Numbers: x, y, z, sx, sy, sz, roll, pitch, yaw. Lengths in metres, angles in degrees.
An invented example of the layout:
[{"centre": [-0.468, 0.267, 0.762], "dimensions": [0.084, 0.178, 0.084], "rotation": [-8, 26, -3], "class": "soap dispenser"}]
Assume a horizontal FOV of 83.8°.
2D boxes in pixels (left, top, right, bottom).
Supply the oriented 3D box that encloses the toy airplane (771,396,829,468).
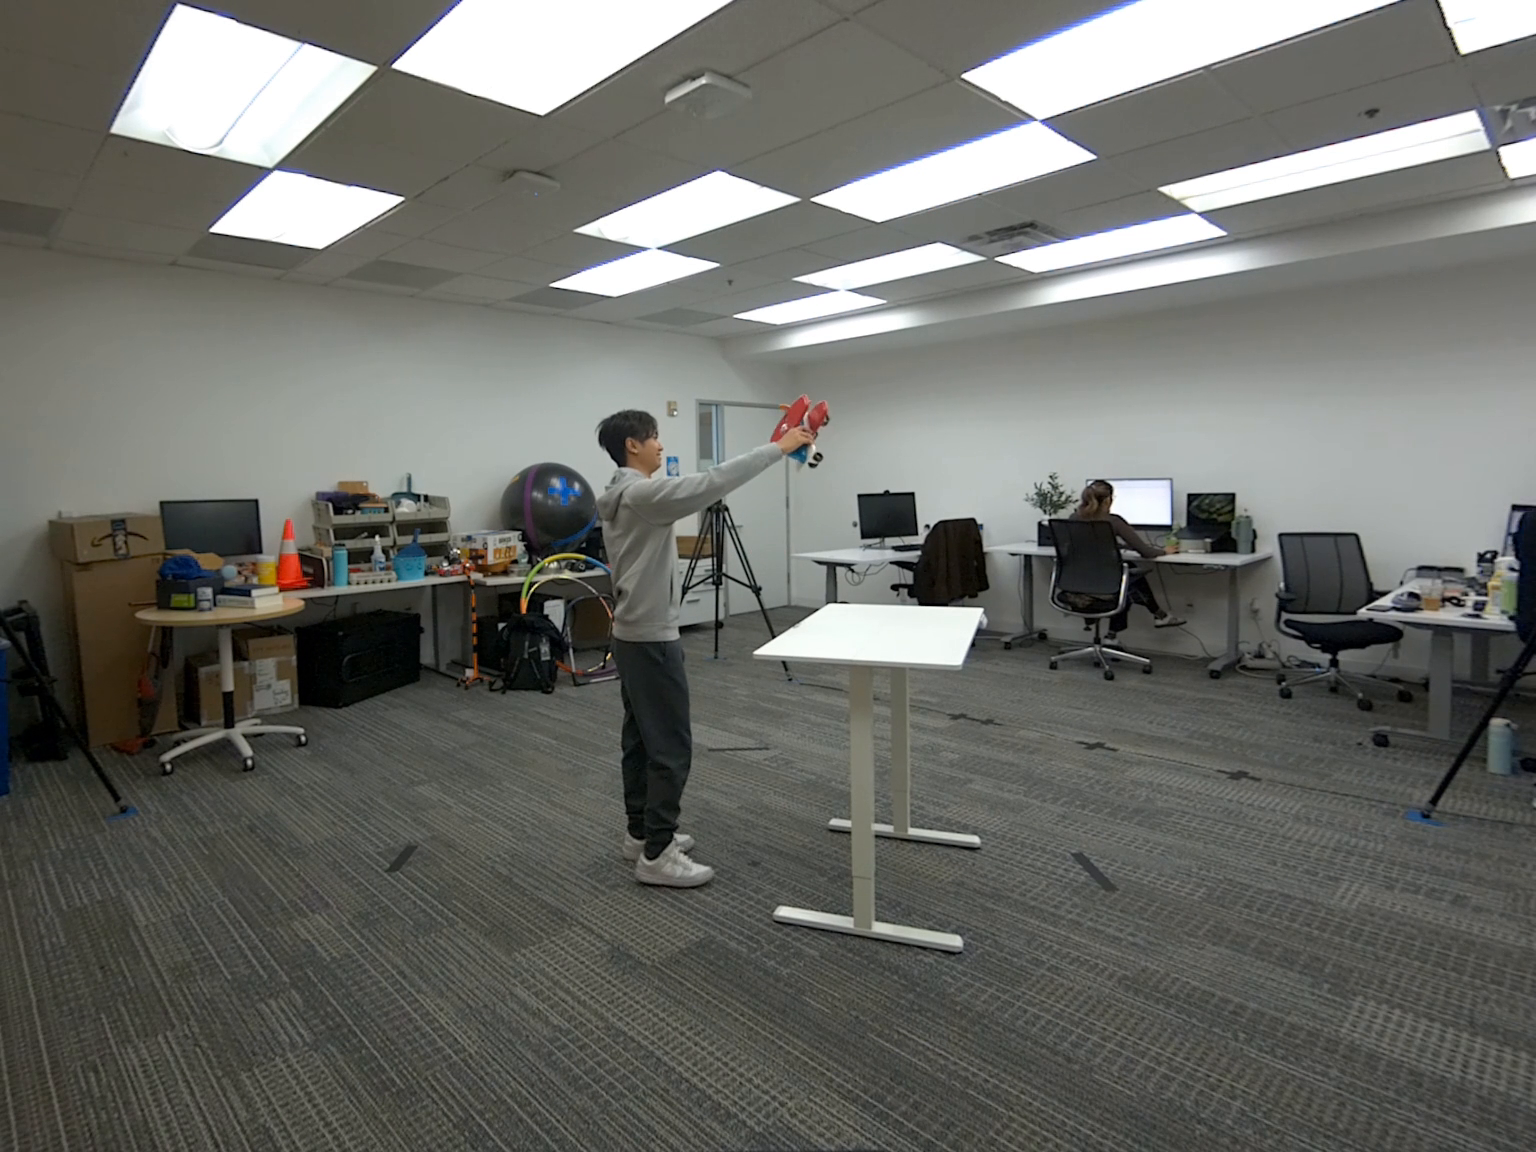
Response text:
[{"centre": [0.132, -0.498, 3.012], "dimensions": [0.154, 0.249, 0.265], "rotation": [23, 19, -15], "class": "toy airplane"}]
